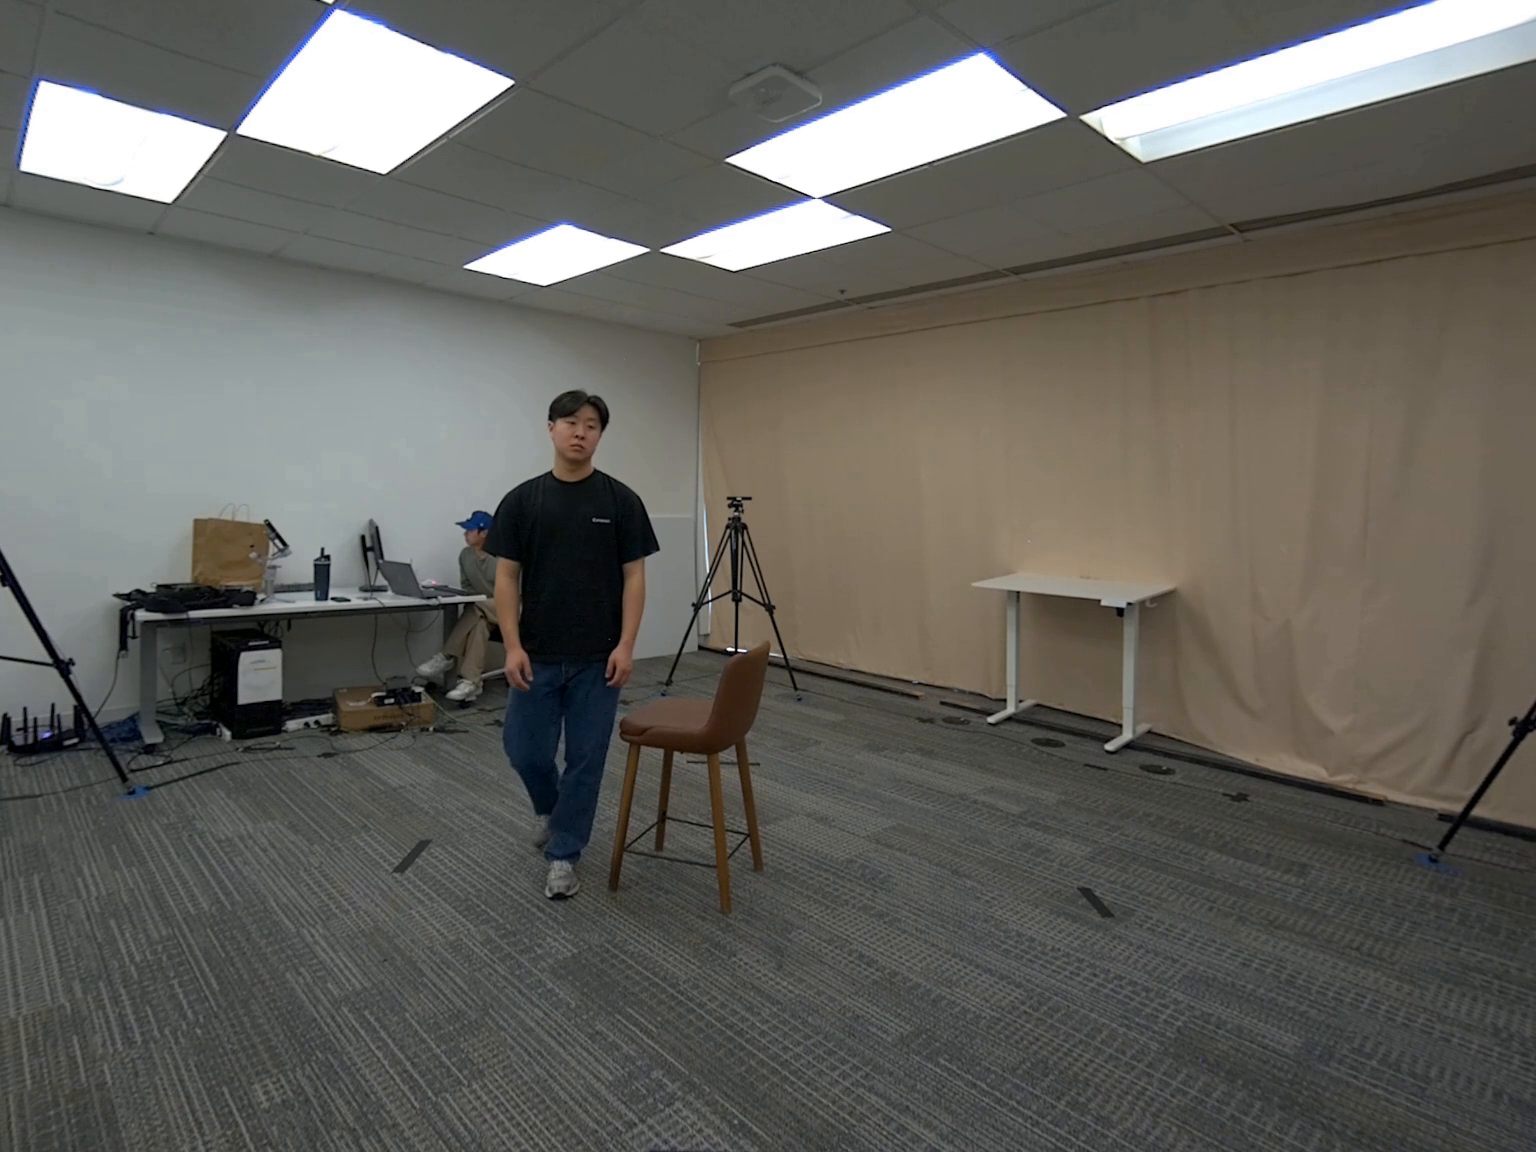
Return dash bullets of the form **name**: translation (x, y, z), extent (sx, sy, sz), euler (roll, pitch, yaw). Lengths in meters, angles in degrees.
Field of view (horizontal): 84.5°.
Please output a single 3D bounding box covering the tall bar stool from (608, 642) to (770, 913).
- **tall bar stool**: translation (-0.275, 0.679, 3.041), extent (0.475, 0.887, 0.450), euler (4, 5, 20)
